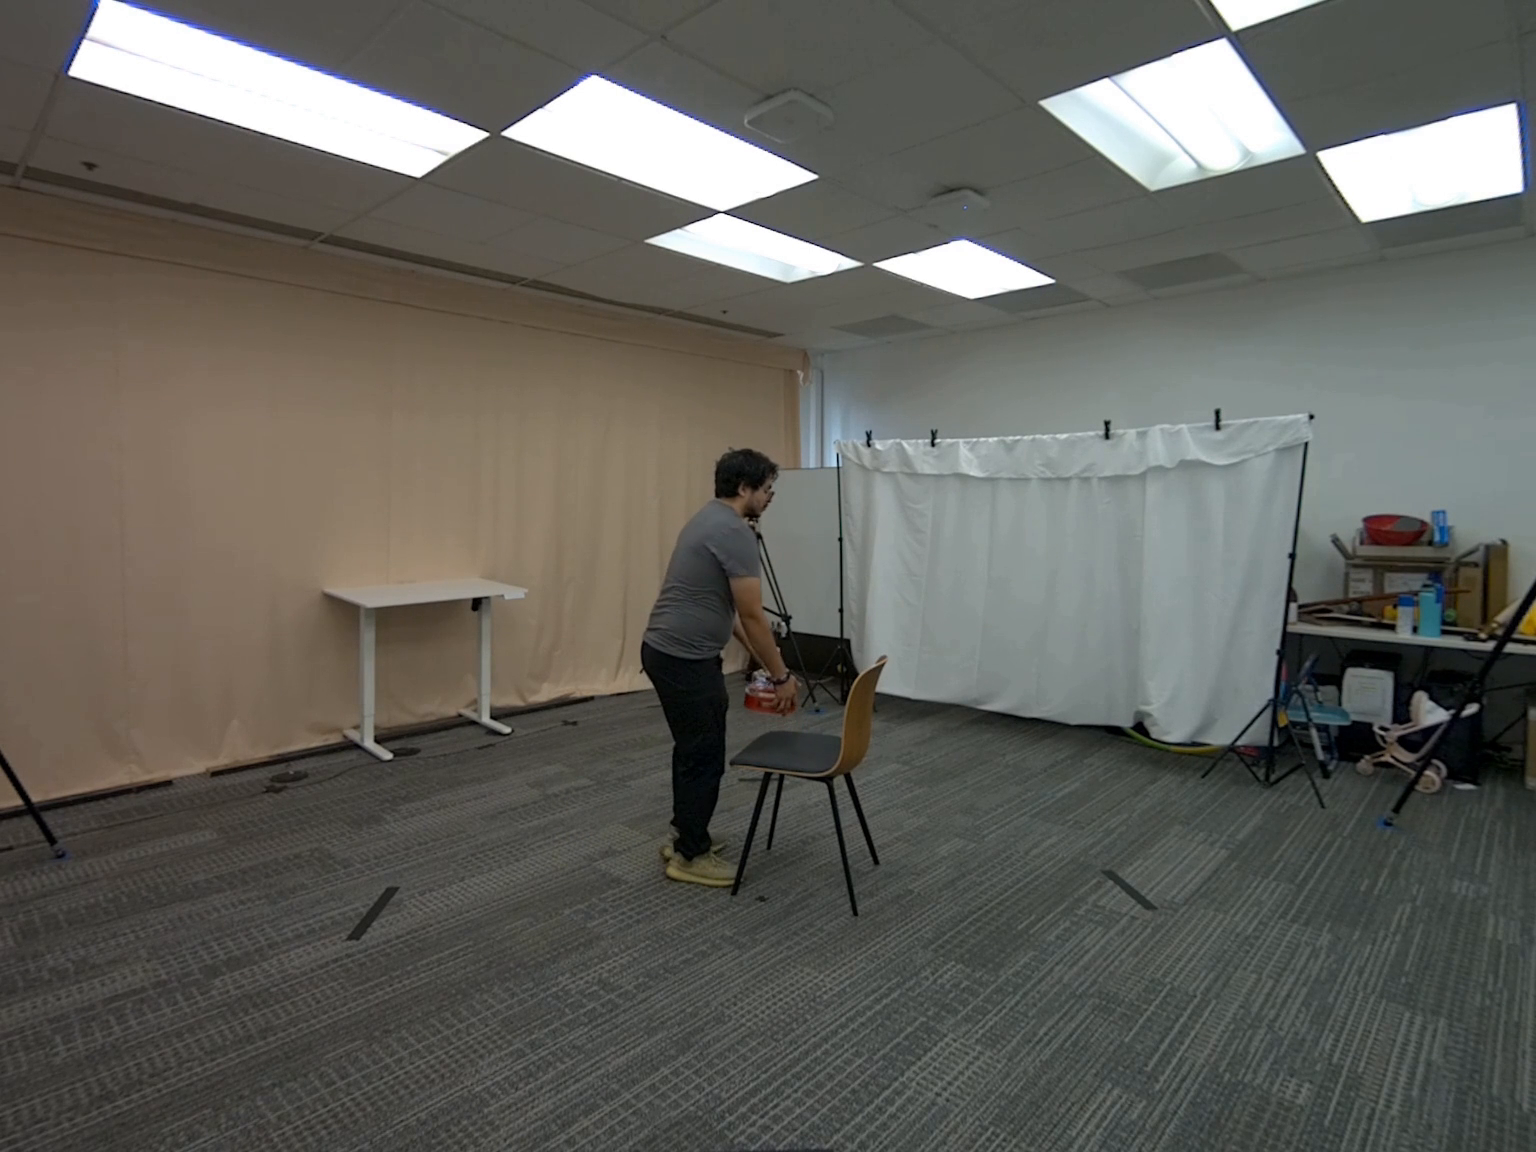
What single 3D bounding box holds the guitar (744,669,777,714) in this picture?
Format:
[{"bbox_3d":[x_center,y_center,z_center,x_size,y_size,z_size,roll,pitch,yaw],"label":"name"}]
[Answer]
[{"bbox_3d":[0.037,0.413,3.327,0.195,0.070,0.497,6,17,7],"label":"guitar"}]
